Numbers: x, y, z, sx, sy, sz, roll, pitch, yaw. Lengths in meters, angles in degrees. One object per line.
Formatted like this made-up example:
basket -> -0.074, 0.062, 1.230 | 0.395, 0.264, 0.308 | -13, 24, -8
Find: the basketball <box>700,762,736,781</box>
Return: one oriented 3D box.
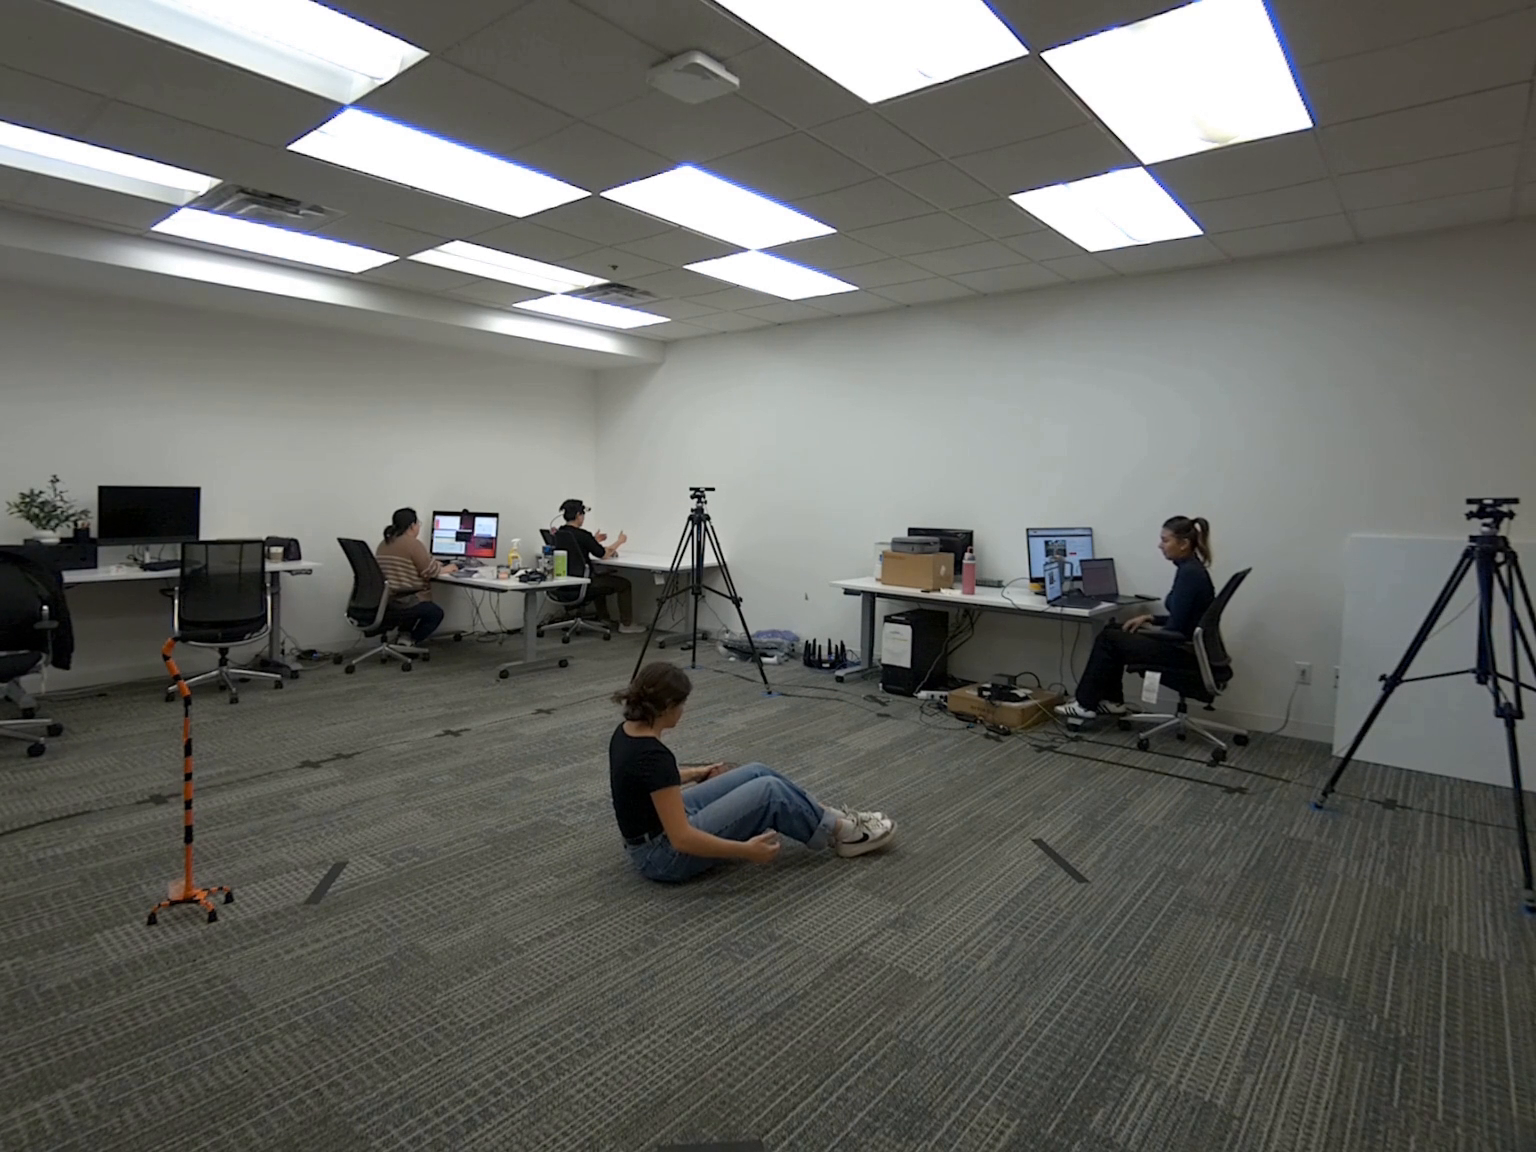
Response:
basketball -> -0.158, 0.899, 3.545 | 0.235, 0.235, 0.237 | 1, 4, -2
